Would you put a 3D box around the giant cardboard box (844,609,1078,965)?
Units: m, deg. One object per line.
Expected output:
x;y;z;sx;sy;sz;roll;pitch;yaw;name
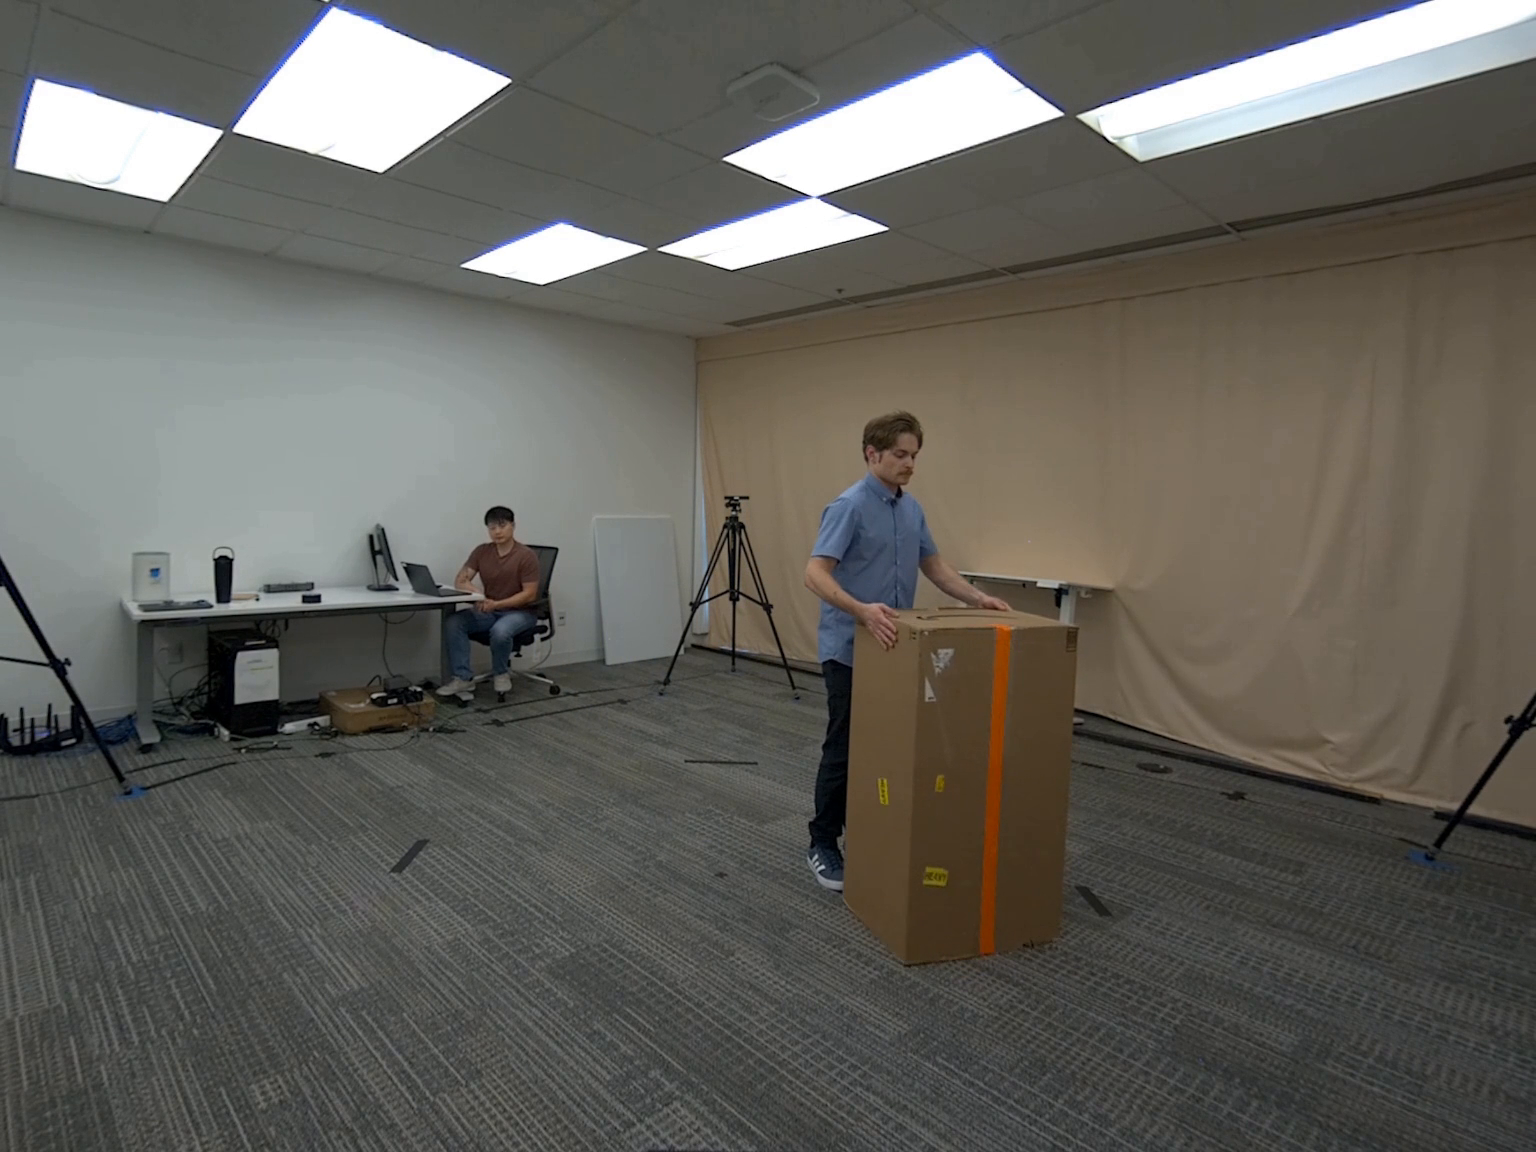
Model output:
0.622;0.649;2.771;0.569;1.023;0.434;1;4;-20;giant cardboard box
